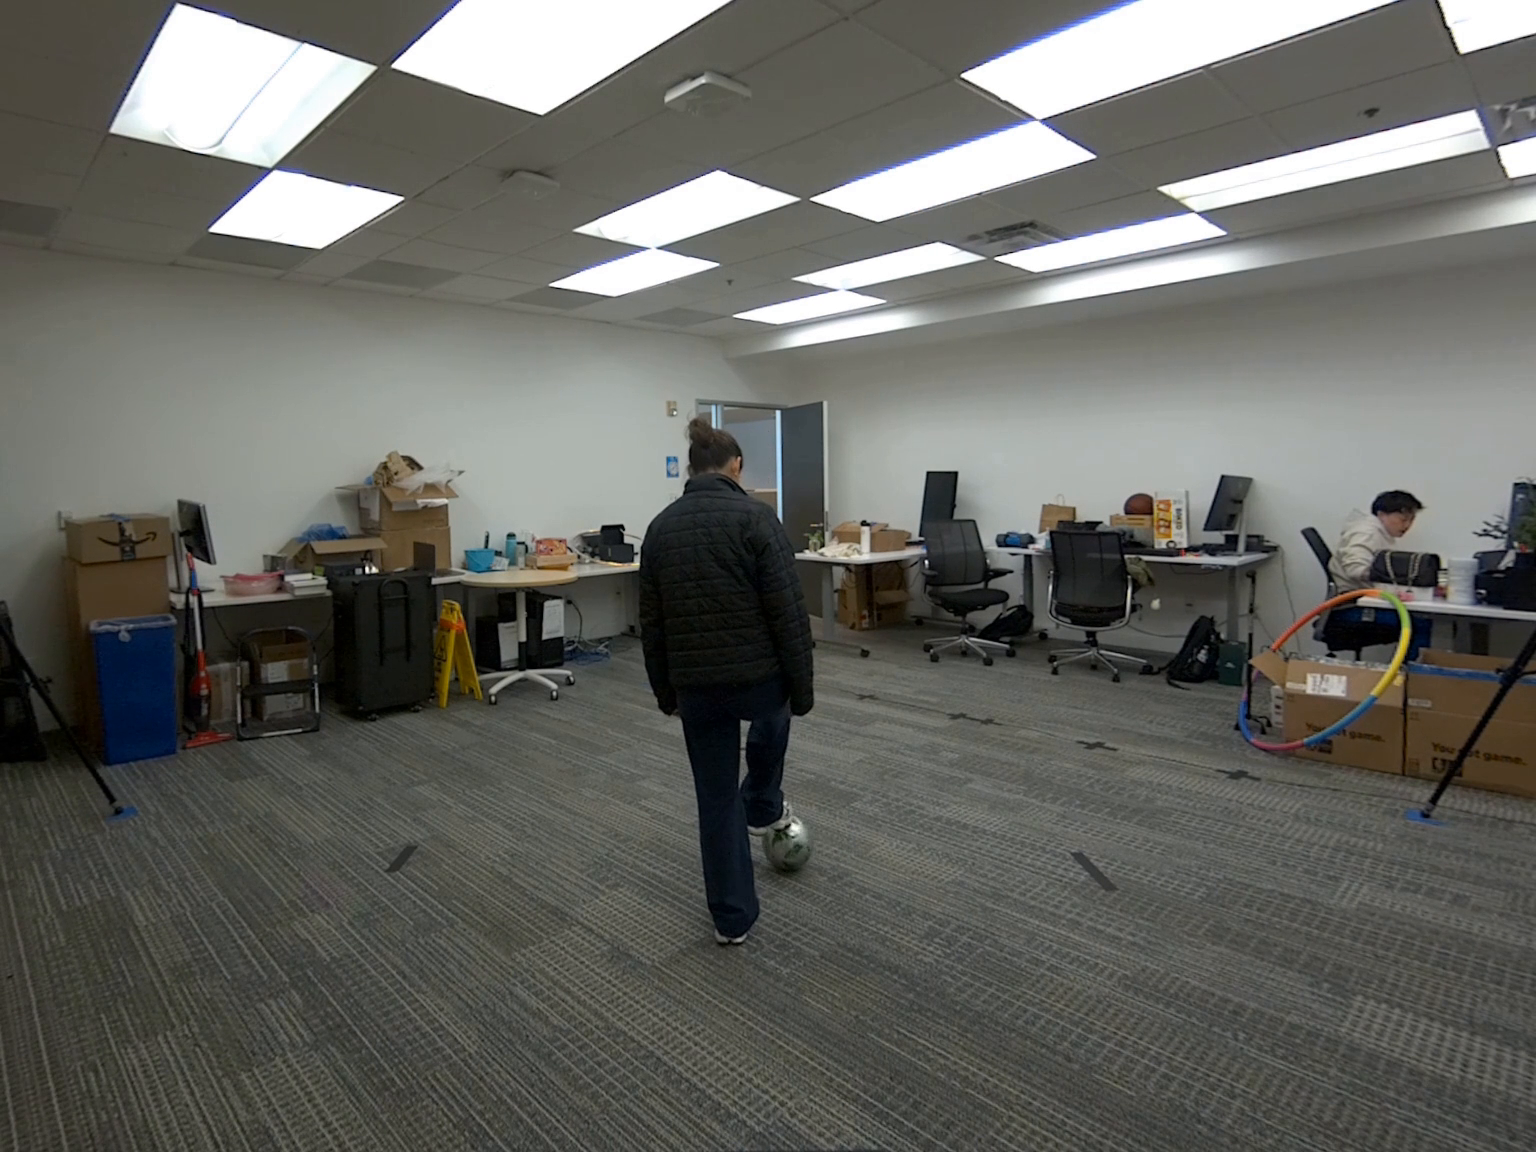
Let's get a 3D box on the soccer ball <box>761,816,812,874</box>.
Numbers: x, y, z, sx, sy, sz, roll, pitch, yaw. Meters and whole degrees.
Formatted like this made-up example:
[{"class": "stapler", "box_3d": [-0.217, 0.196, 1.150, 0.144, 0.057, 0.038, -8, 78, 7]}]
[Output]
[{"class": "soccer ball", "box_3d": [0.080, 0.955, 3.052, 0.187, 0.187, 0.188, -1, 5, -2]}]
